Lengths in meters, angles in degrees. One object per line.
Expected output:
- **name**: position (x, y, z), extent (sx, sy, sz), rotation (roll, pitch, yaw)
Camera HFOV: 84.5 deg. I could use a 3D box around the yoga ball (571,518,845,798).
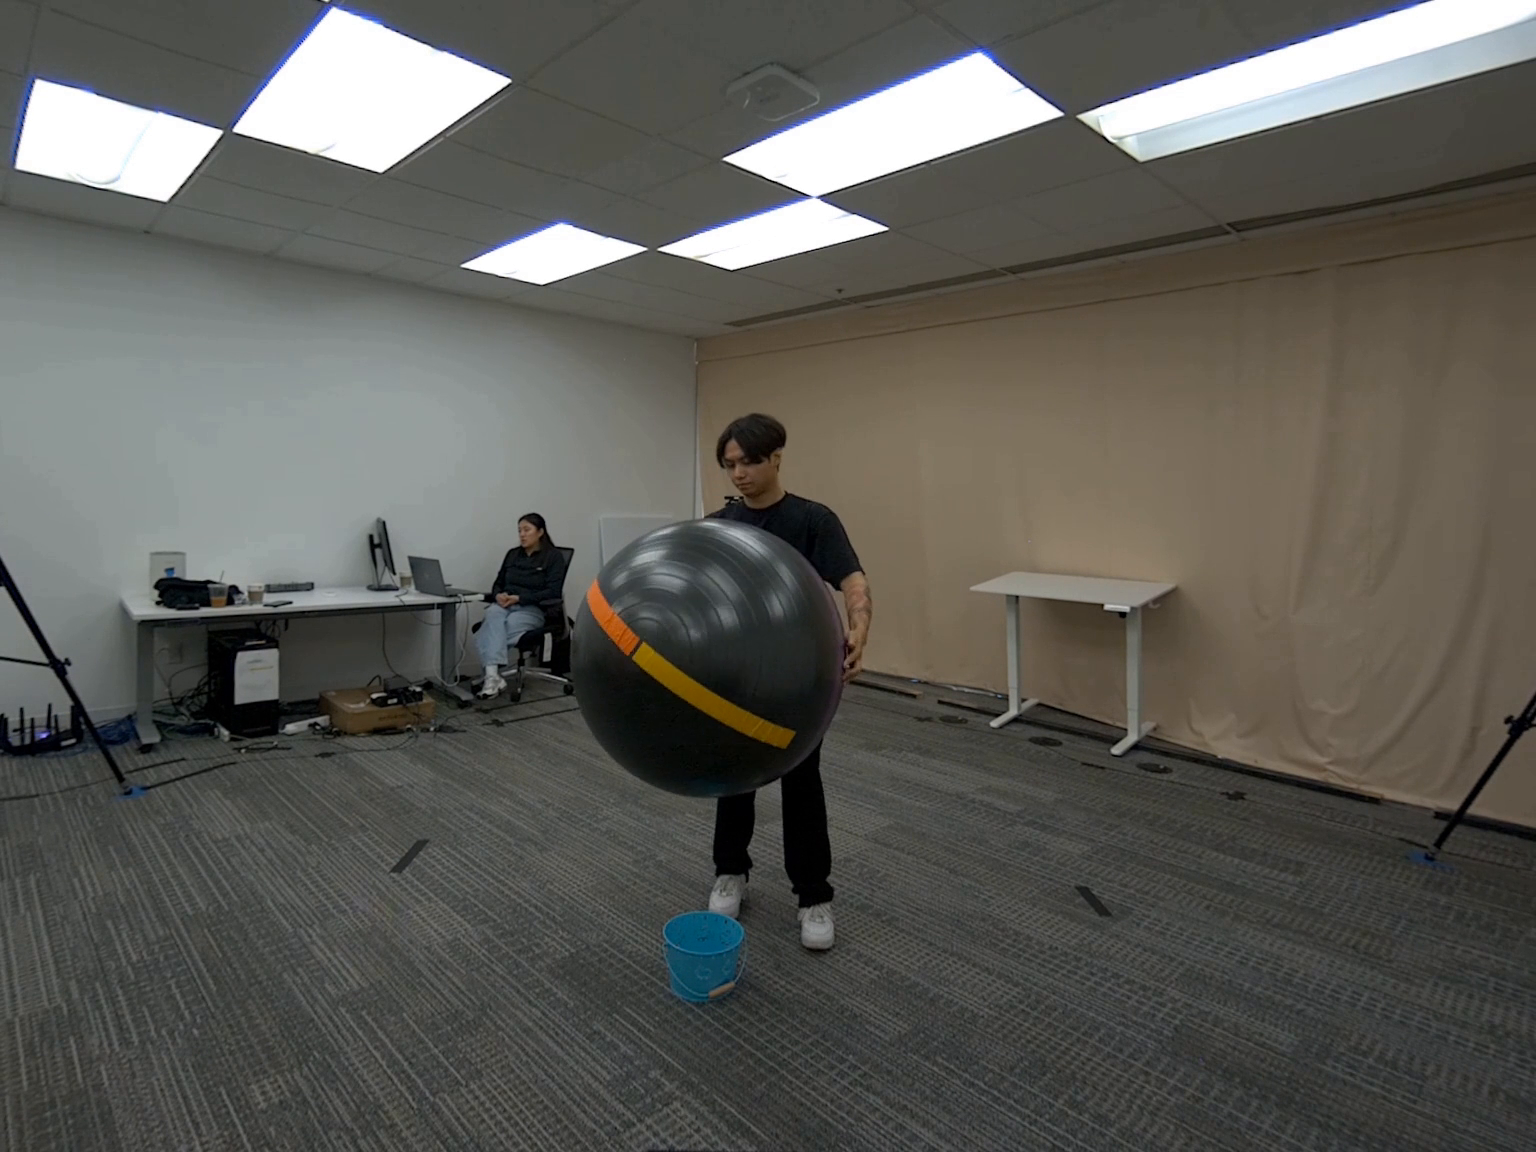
- **yoga ball**: position (-0.166, 0.228, 2.326), extent (0.757, 0.756, 0.761), rotation (1, 4, -1)
